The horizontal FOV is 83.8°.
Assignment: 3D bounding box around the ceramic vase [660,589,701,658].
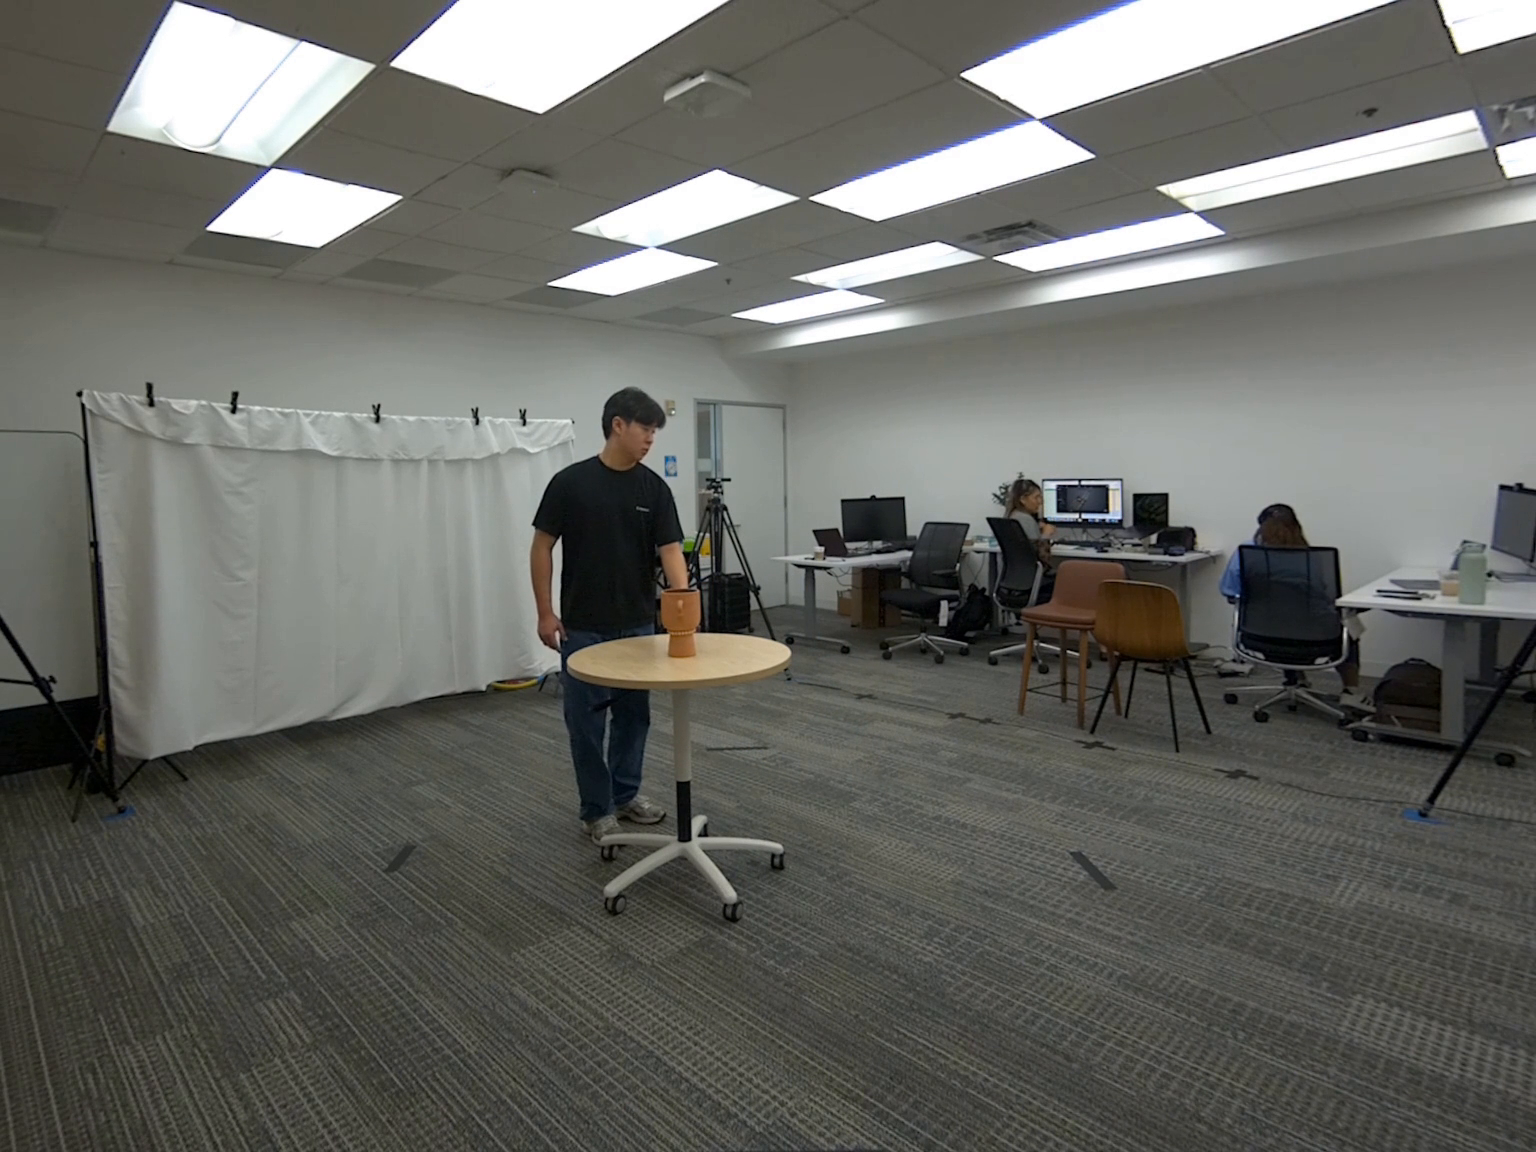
[{"bbox_3d":[-0.287,0.160,2.918,0.138,0.219,0.155,2,6,36],"label":"ceramic vase"}]
